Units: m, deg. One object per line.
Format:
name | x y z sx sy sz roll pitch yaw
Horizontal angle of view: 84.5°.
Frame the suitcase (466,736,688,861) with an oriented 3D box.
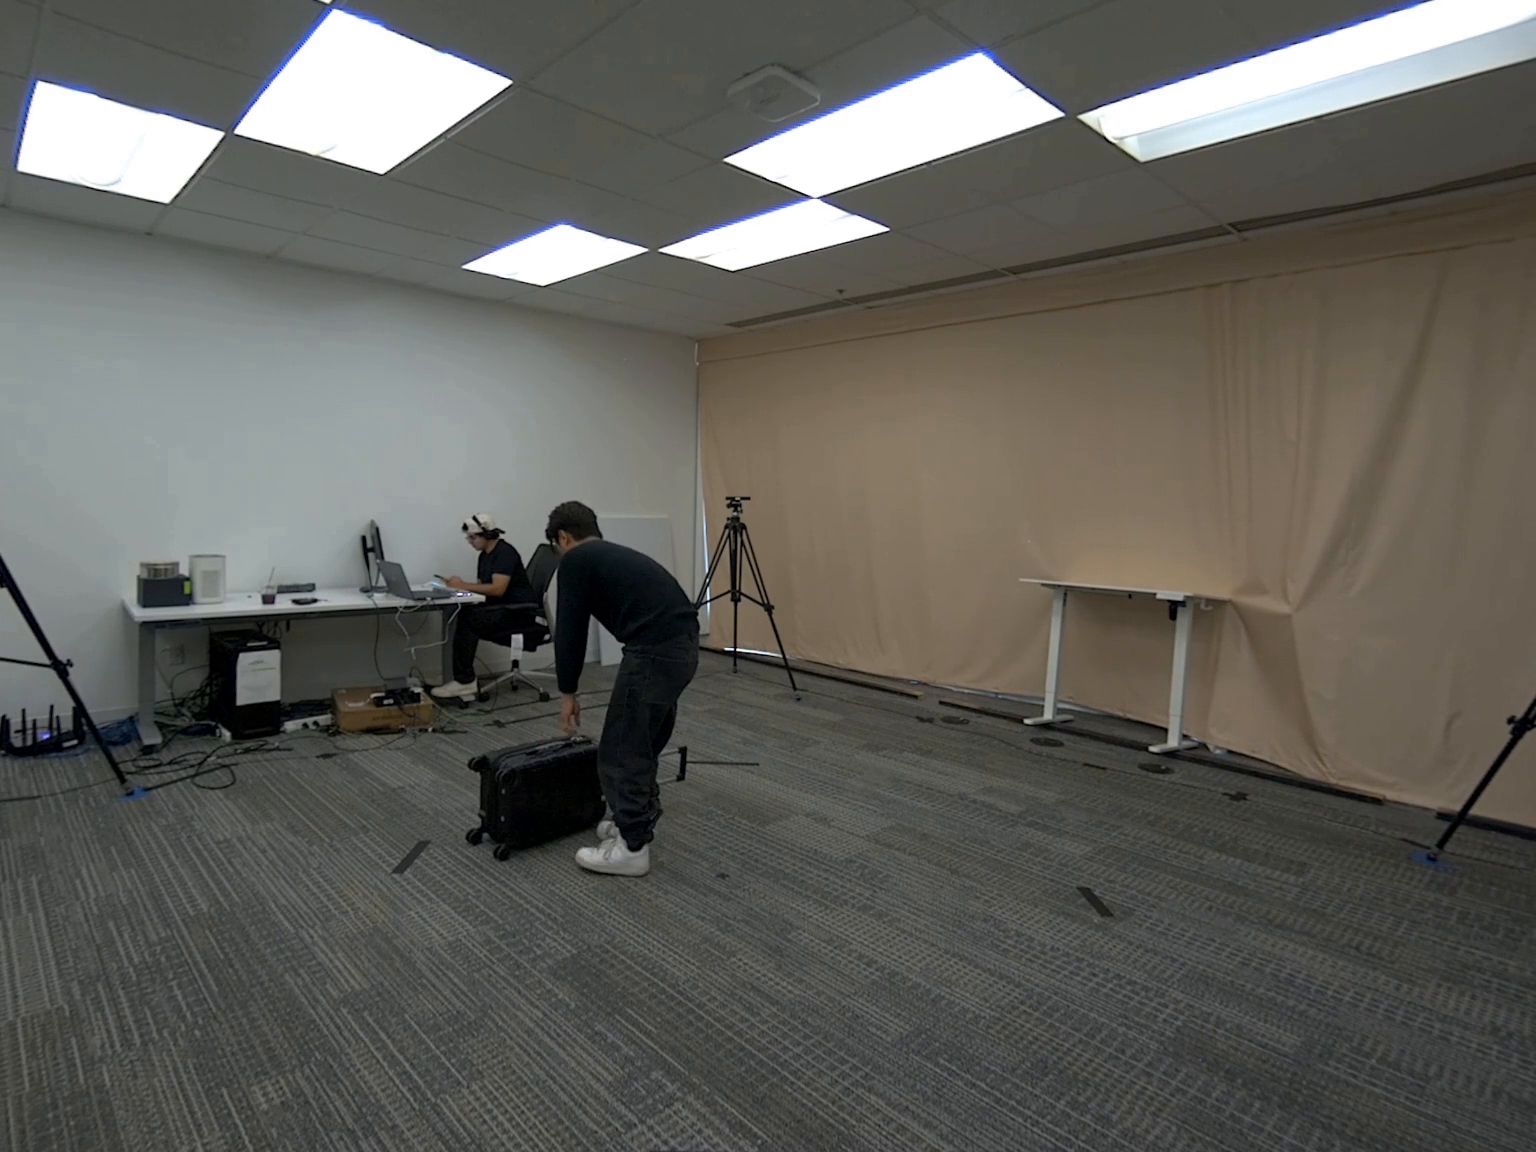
suitcase | -0.794 0.859 3.595 0.263 0.383 0.956 6 6 40
